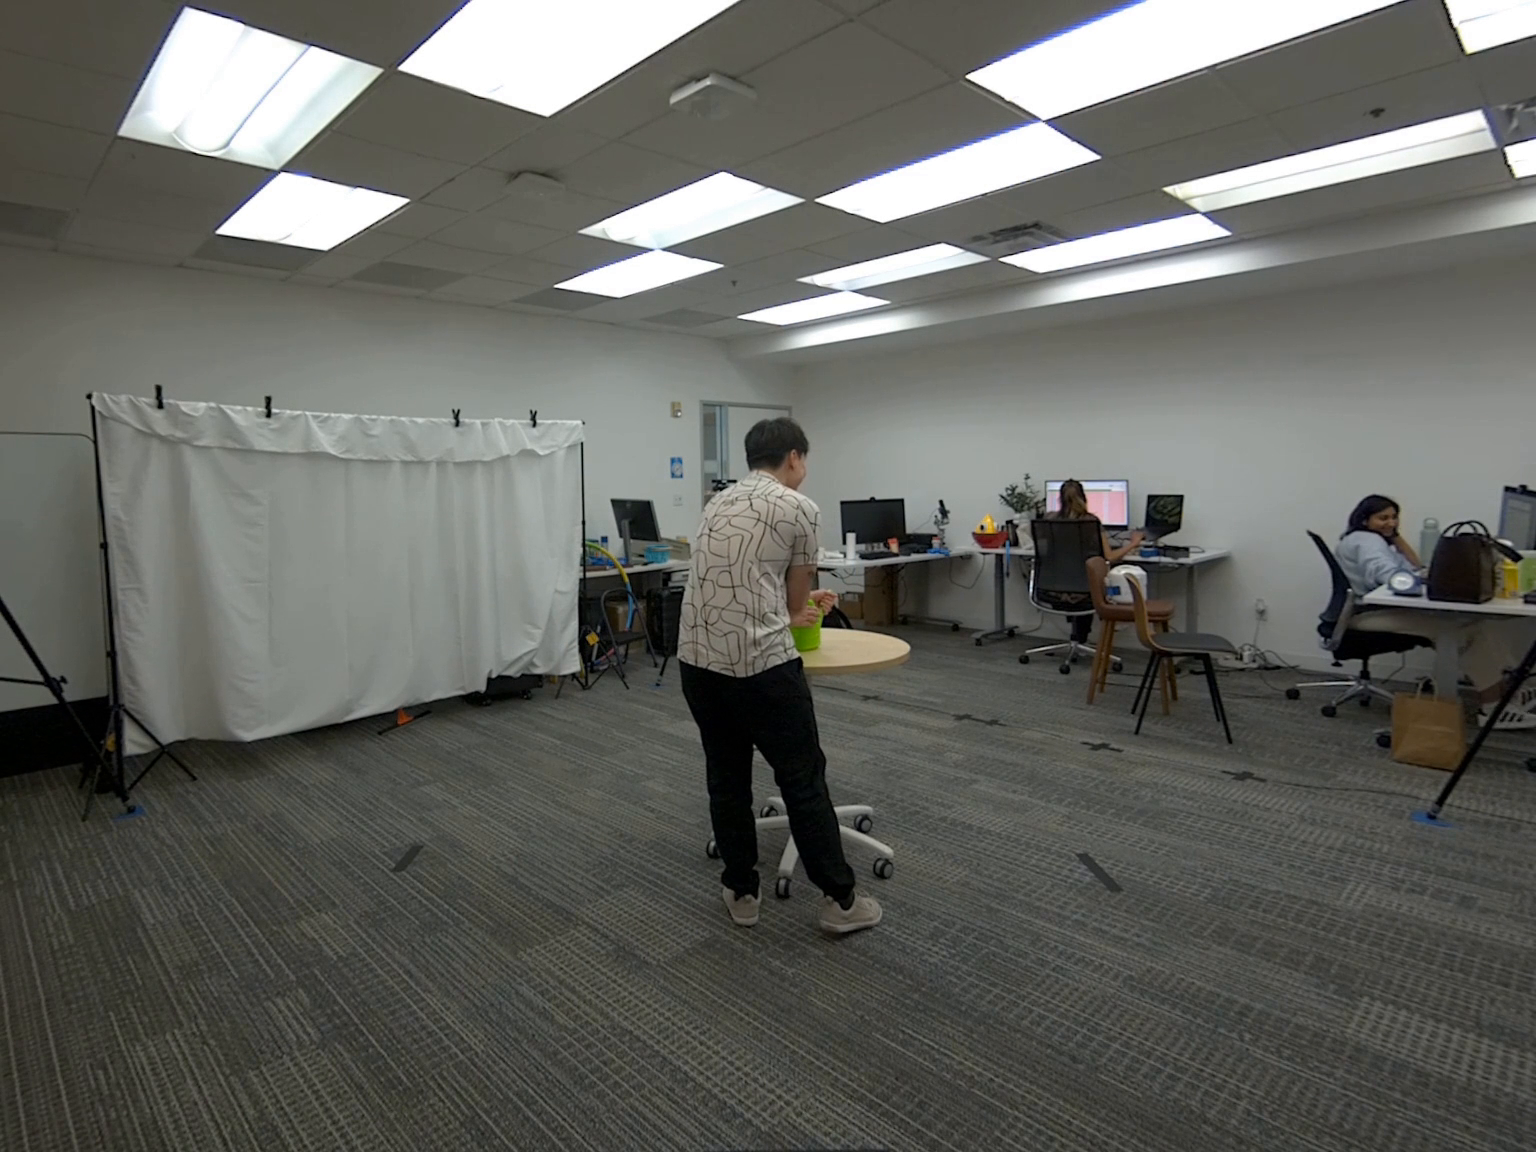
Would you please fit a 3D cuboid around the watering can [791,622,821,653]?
[{"bbox_3d":[0.164,0.164,3.114,0.273,0.176,0.100,-13,7,-31],"label":"watering can"}]
